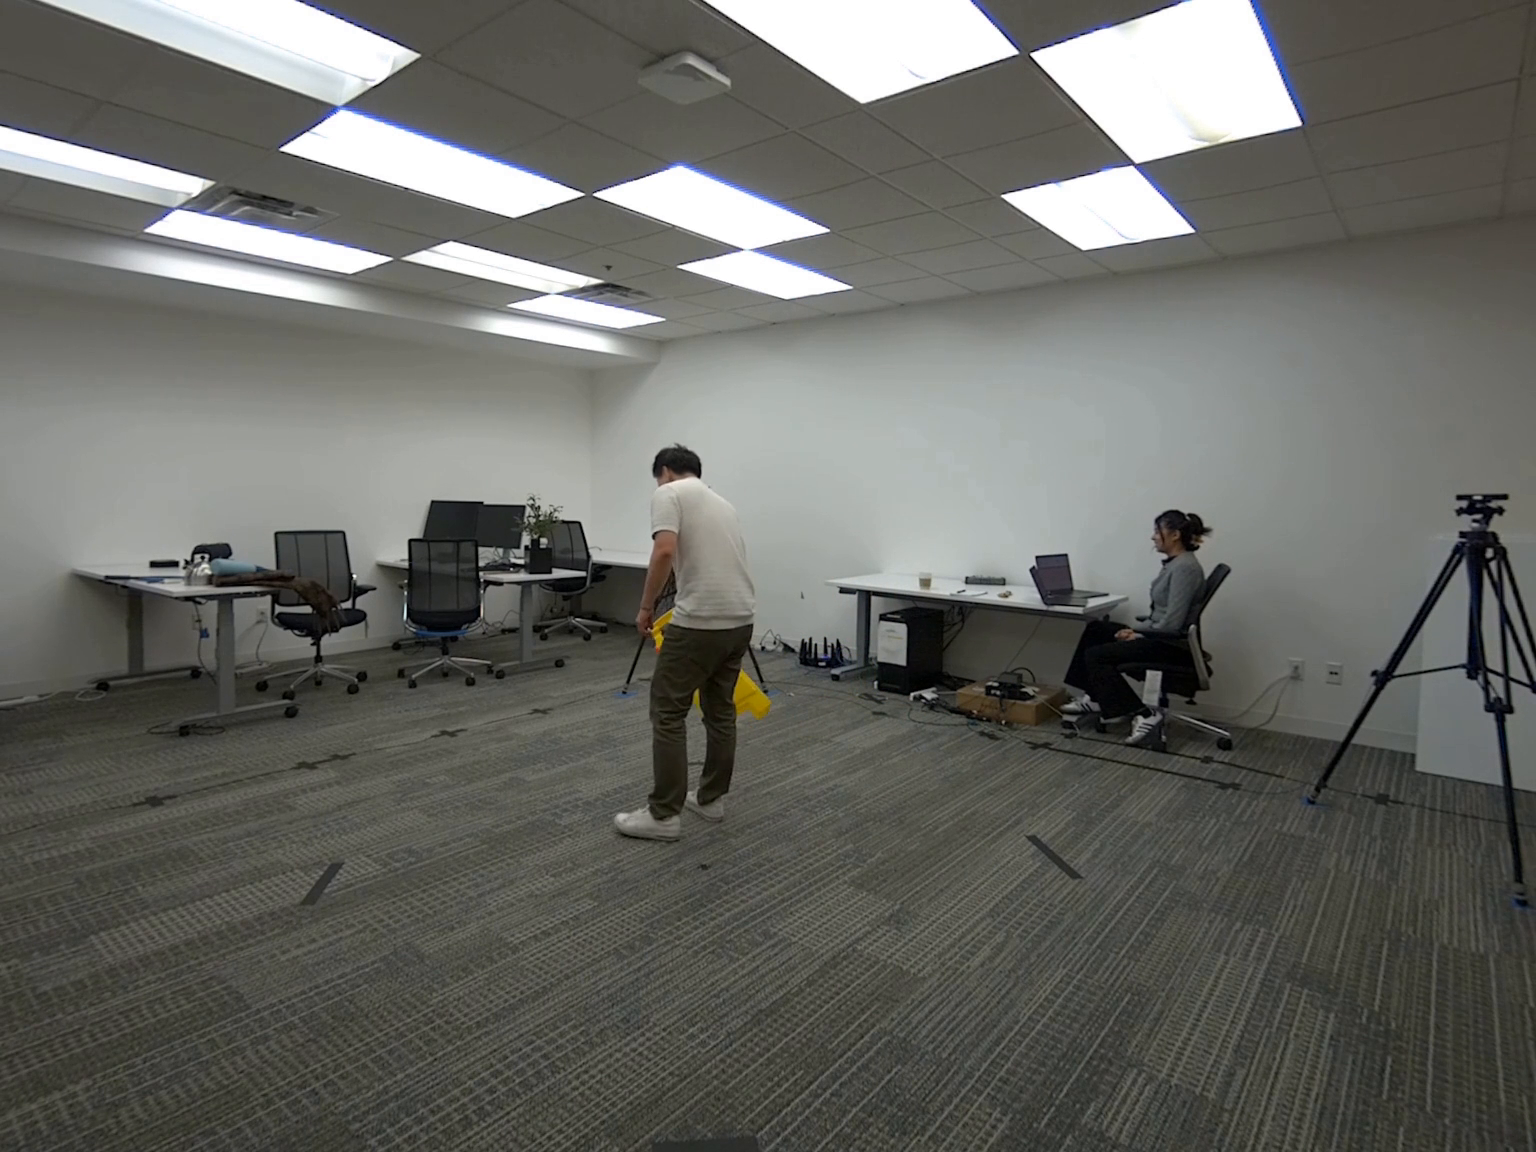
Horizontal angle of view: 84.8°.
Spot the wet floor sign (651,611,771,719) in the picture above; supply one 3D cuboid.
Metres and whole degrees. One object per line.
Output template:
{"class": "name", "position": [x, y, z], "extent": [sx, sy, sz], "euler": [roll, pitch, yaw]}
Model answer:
{"class": "wet floor sign", "position": [-0.303, 0.440, 3.949], "extent": [0.281, 0.657, 0.285], "euler": [-38, -12, -9]}
